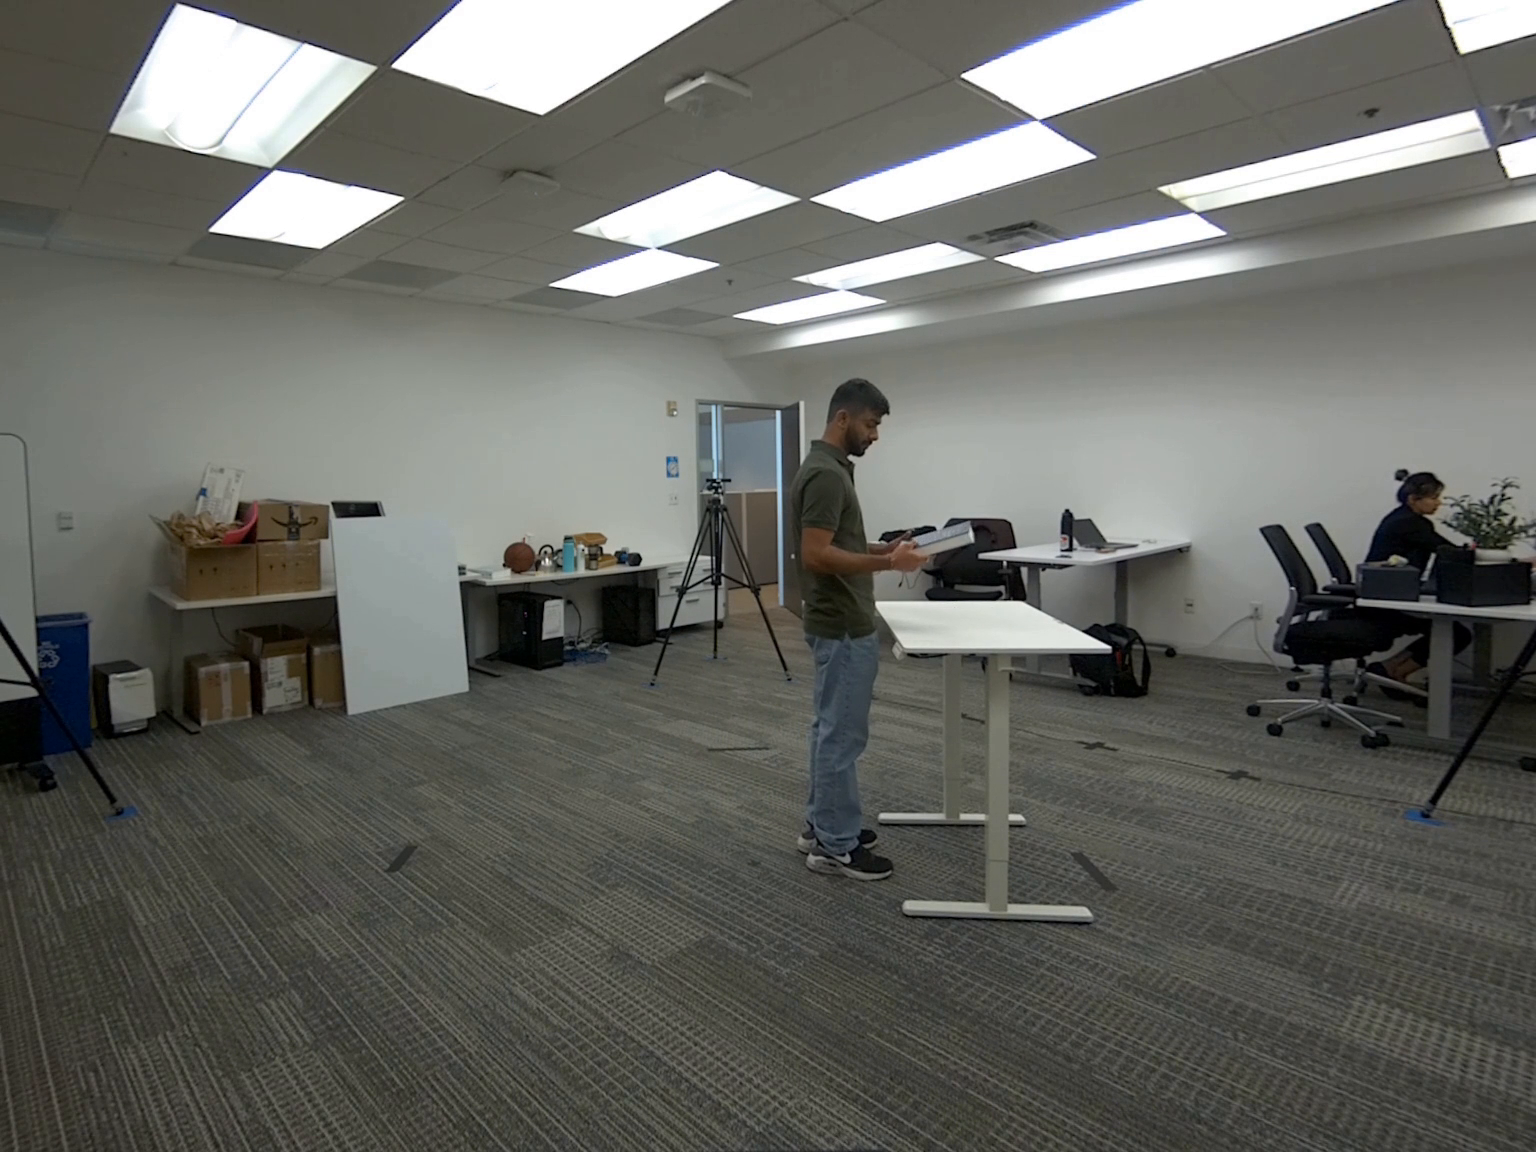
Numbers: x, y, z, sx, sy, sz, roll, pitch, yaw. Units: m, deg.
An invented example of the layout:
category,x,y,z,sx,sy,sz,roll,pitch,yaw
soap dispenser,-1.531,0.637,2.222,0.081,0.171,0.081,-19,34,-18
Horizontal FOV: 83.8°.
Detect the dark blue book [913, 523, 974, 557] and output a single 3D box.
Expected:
category,x,y,z,sx,sy,sz,roll,pitch,yaw
dark blue book,0.583,-0.119,2.875,0.247,0.045,0.164,-15,12,12
